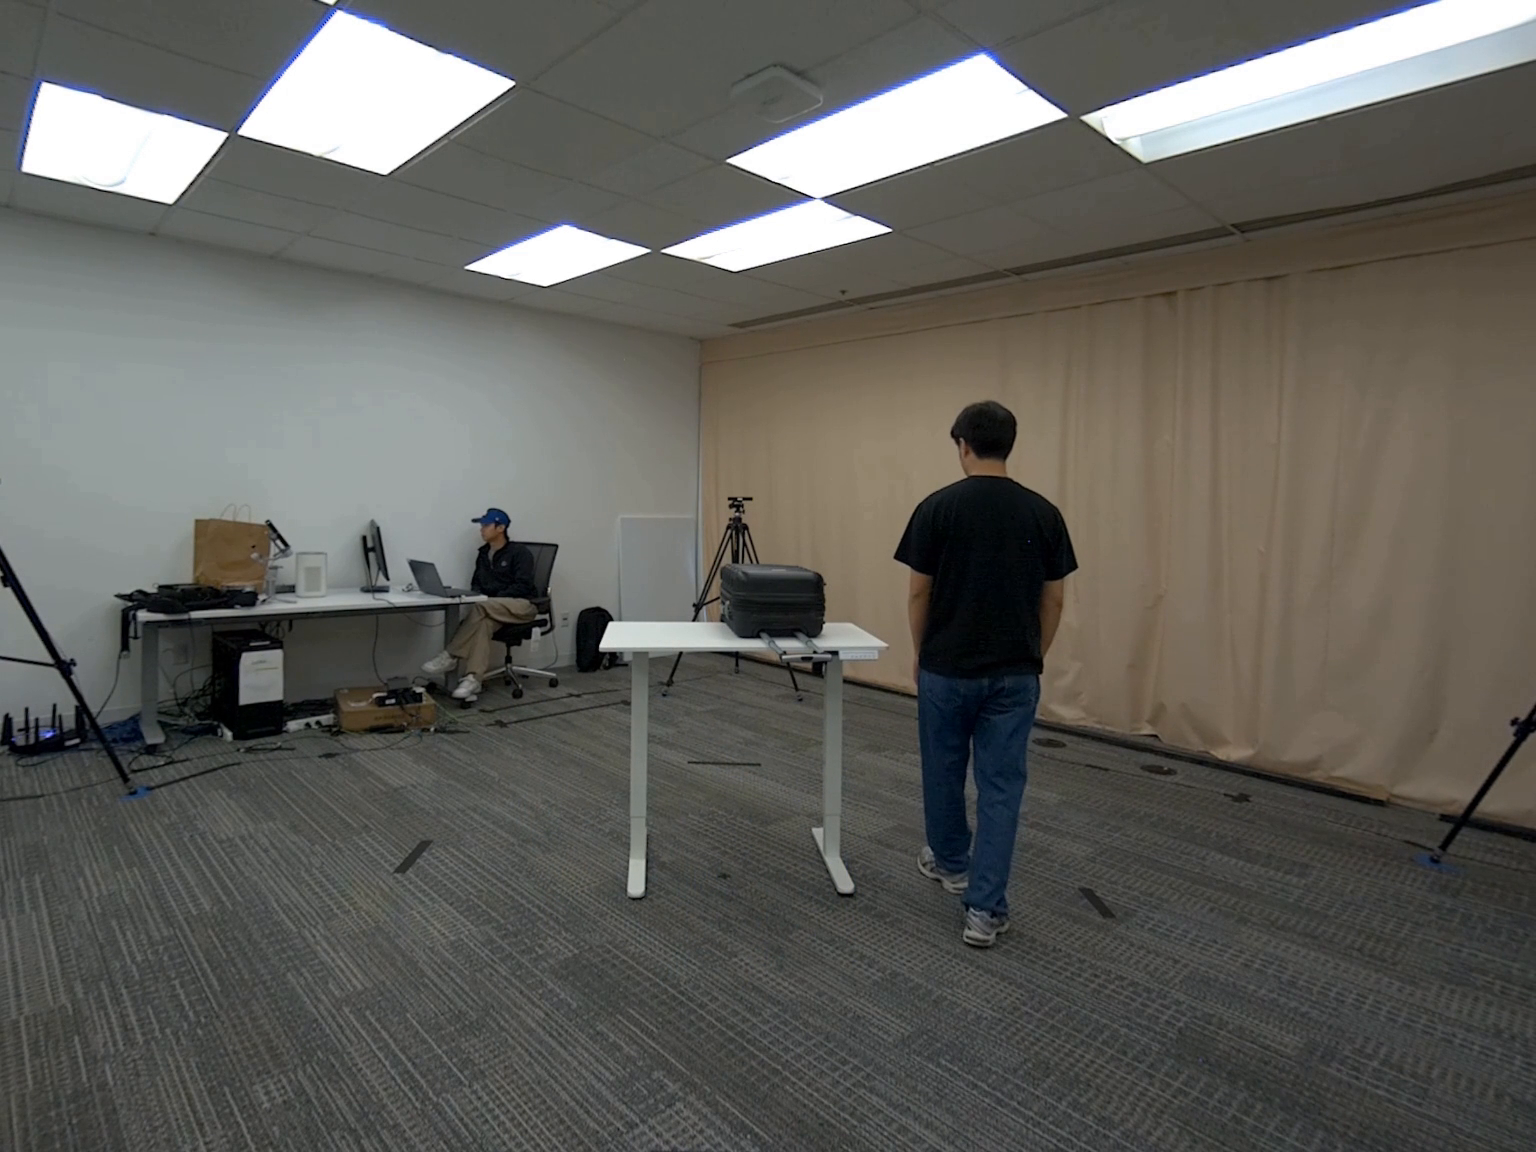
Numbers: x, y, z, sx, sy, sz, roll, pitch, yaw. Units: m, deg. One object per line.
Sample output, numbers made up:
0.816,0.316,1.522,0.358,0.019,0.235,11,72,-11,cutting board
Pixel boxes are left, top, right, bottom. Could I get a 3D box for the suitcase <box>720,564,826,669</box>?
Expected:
0.036,0.107,3.099,0.381,0.257,0.987,1,3,-10,suitcase
